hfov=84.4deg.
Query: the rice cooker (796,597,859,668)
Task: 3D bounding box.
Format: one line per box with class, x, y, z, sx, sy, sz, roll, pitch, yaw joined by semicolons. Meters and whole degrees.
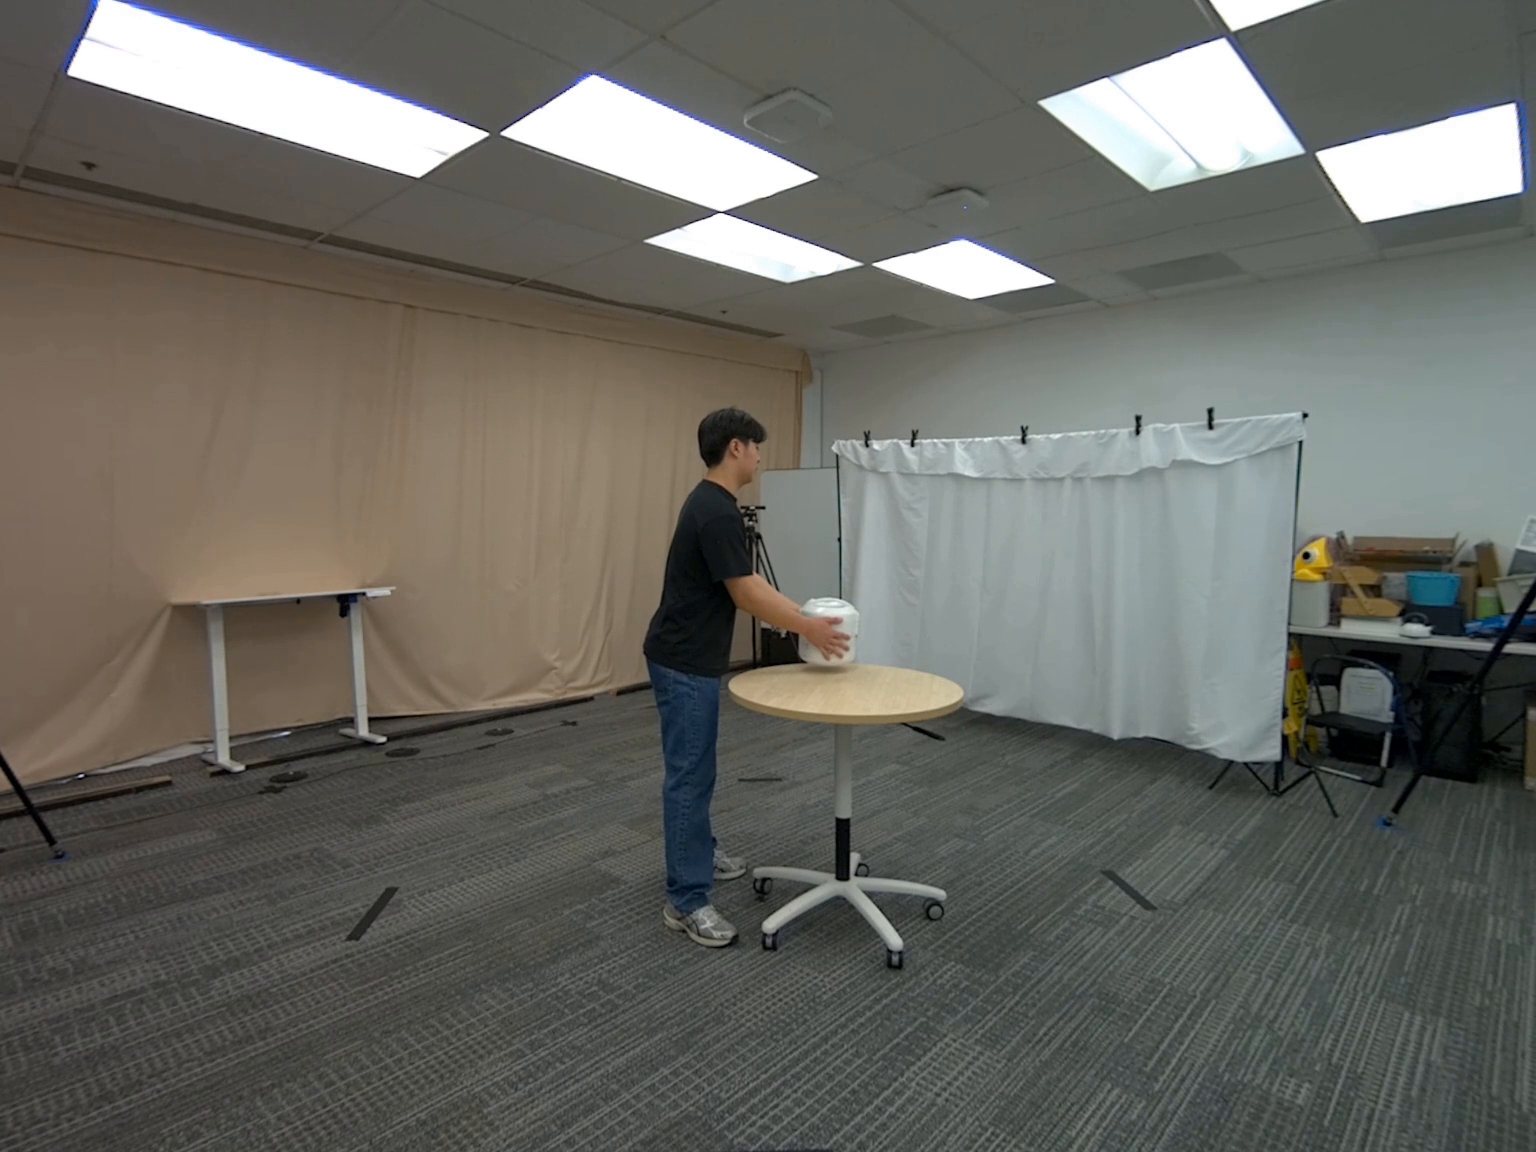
rice cooker;0.225;0.193;3.029;0.221;0.232;0.217;2;6;2
